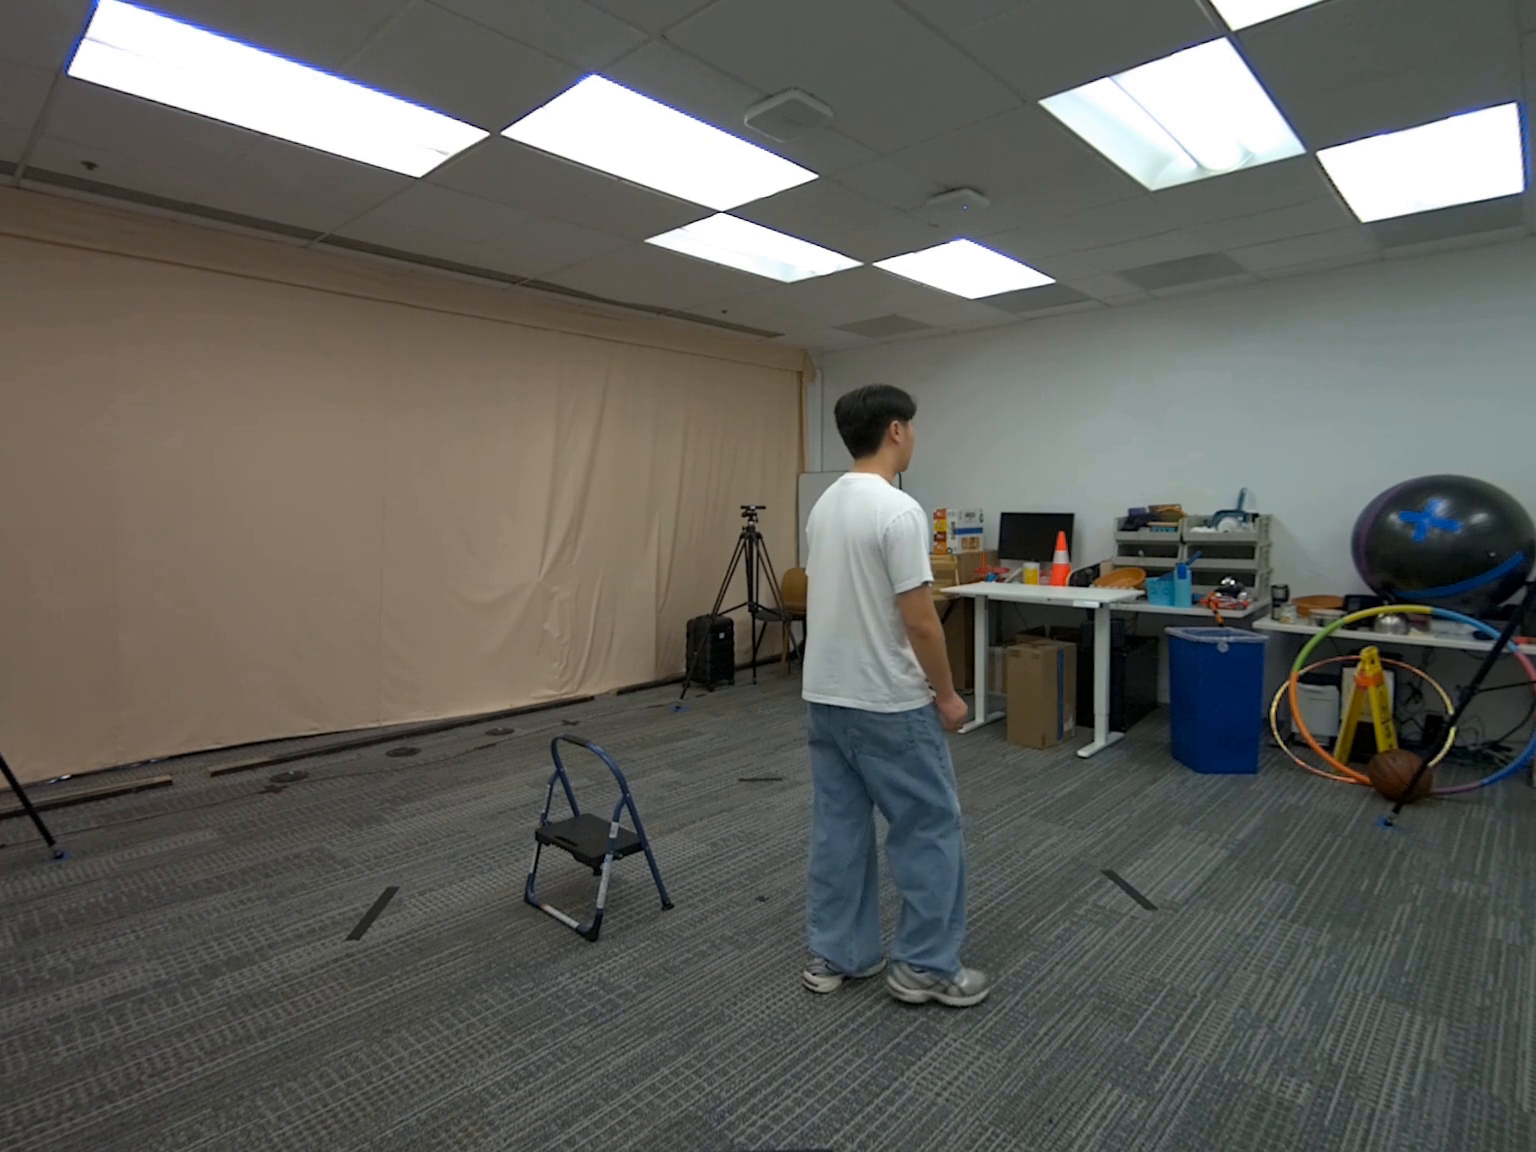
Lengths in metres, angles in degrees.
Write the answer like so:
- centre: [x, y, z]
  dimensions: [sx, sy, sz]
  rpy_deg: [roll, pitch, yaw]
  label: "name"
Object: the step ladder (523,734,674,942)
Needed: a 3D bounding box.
- centre: [-0.599, 0.847, 2.937]
  dimensions: [0.445, 0.605, 0.338]
  rpy_deg: [2, 4, 43]
  label: "step ladder"
